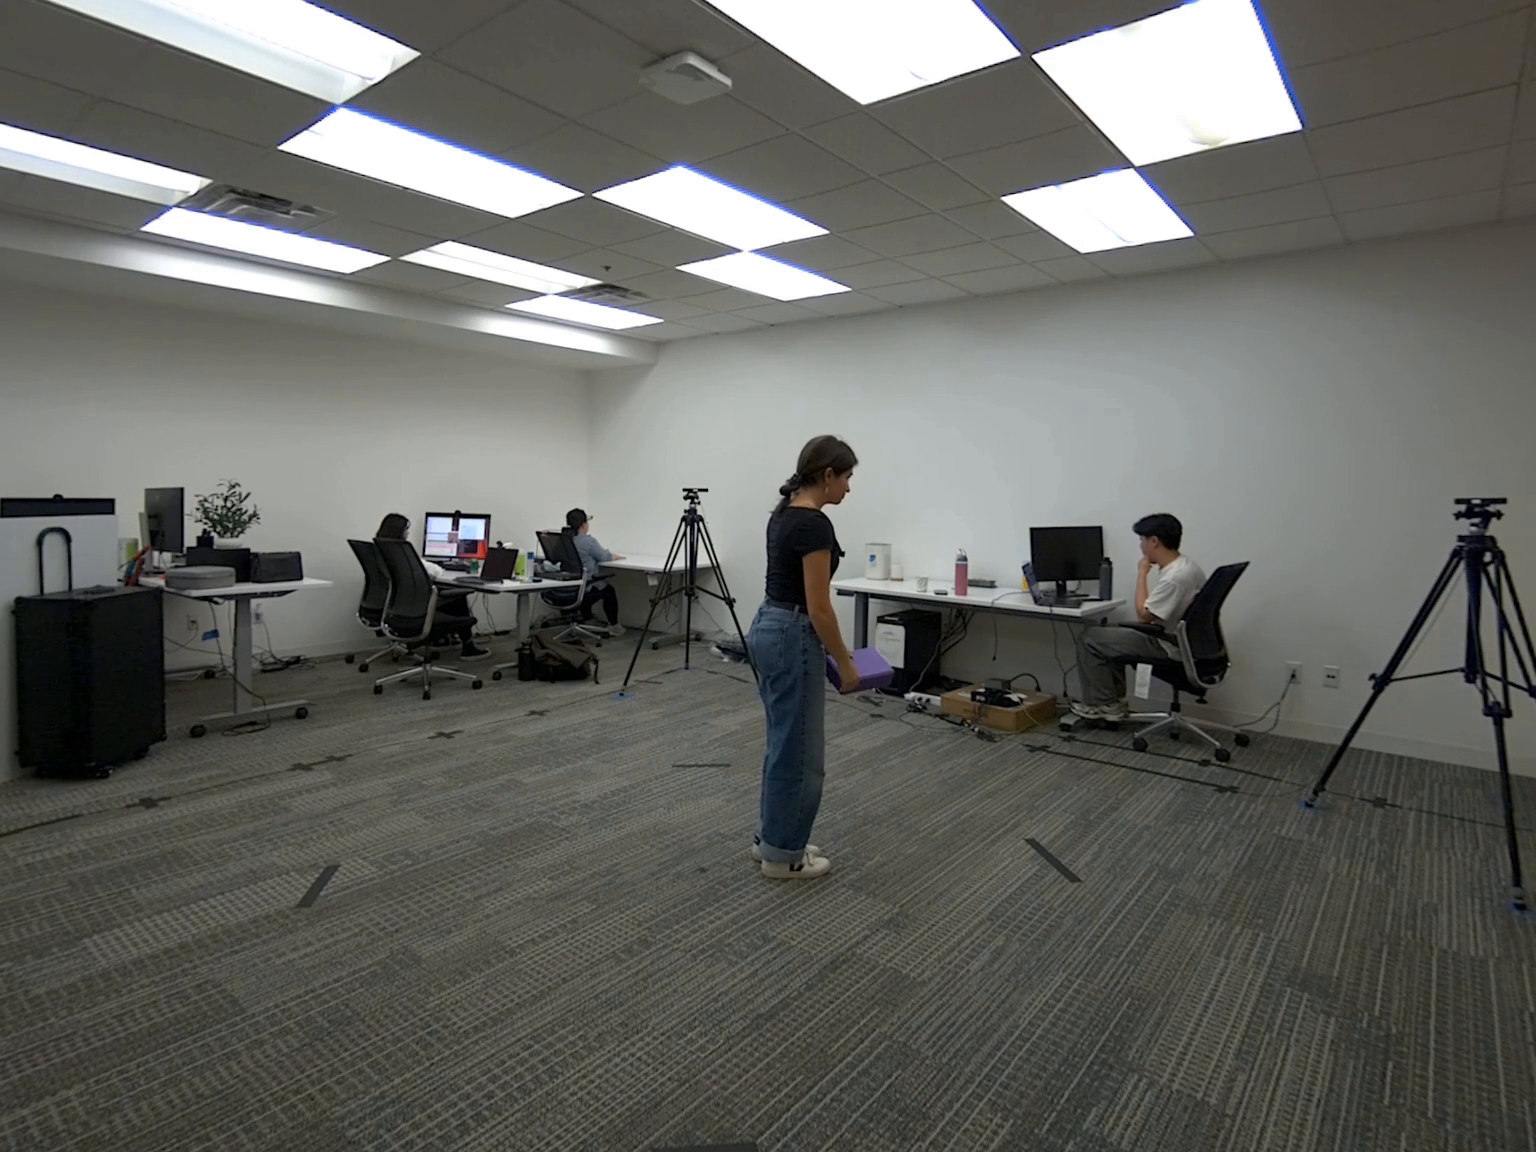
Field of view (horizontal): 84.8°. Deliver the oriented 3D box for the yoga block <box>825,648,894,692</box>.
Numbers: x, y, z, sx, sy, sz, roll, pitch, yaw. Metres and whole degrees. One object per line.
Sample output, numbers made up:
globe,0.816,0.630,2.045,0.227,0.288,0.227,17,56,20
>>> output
yoga block,0.352,0.337,3.146,0.224,0.075,0.155,-8,38,-28
